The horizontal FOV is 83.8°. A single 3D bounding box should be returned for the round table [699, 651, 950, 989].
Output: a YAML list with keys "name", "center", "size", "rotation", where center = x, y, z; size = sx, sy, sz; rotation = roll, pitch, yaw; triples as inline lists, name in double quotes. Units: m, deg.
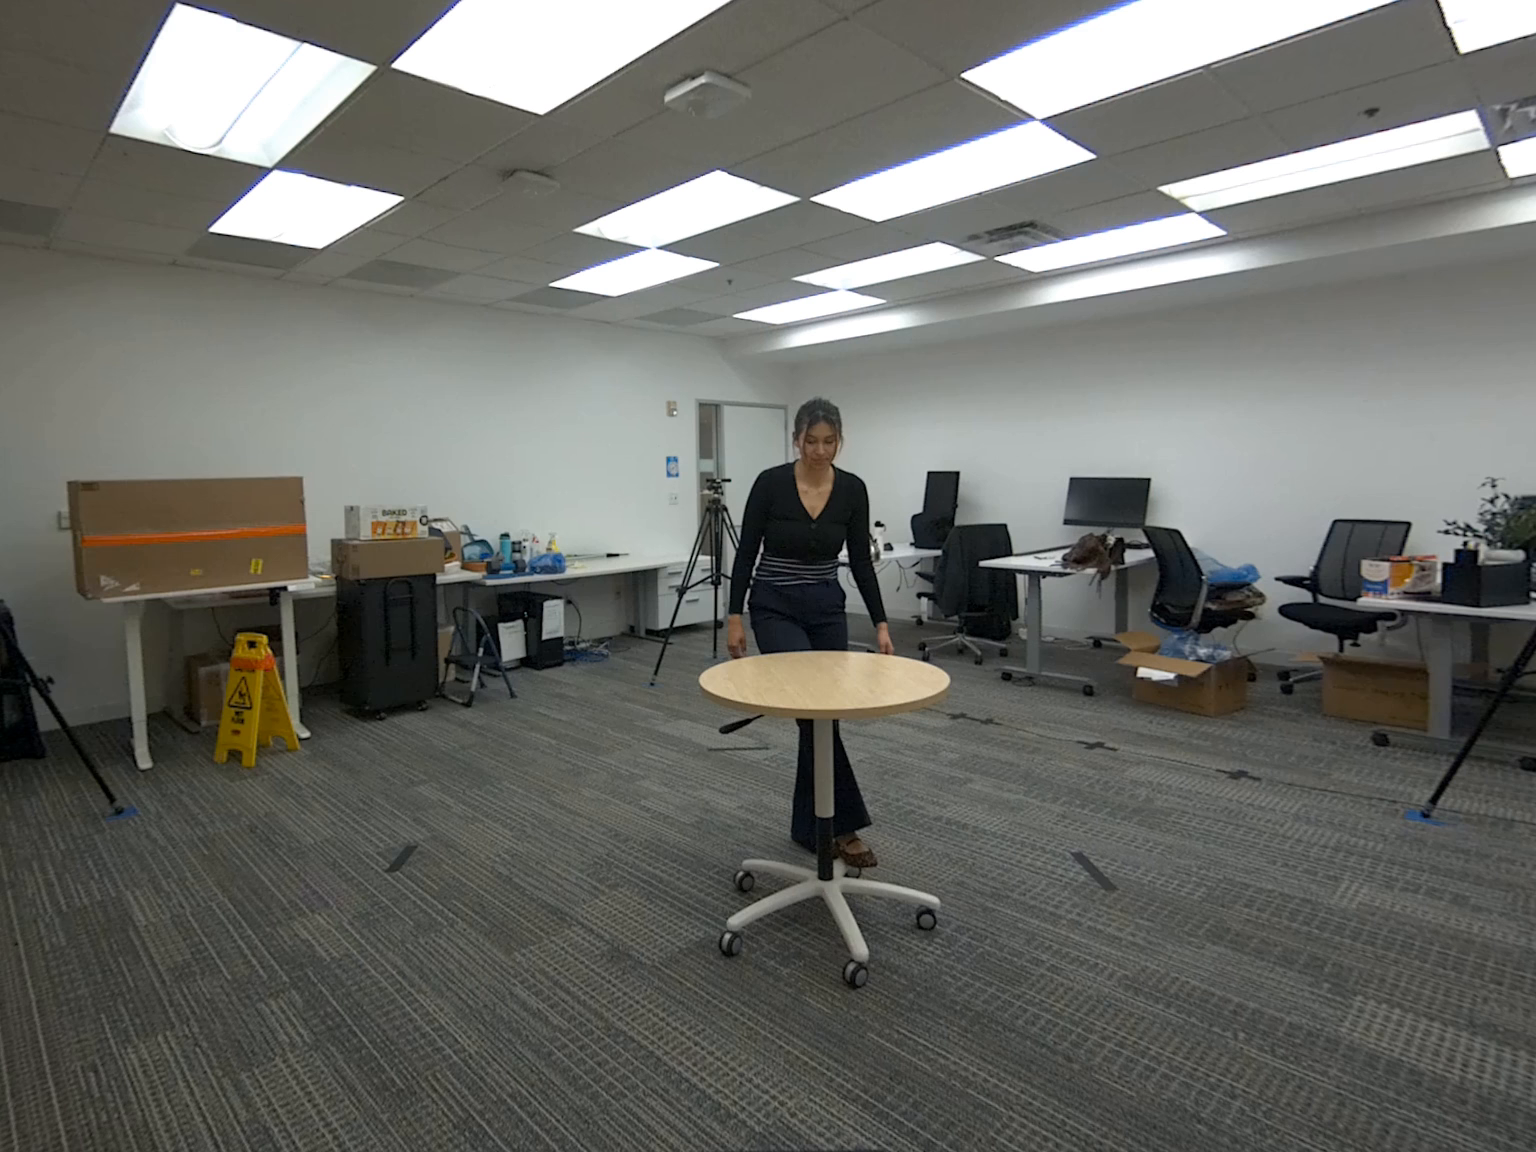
- name: "round table"
  center: [0.177, 0.707, 2.660]
  size: [0.763, 0.791, 0.768]
  rotation: [-1, 5, -2]
